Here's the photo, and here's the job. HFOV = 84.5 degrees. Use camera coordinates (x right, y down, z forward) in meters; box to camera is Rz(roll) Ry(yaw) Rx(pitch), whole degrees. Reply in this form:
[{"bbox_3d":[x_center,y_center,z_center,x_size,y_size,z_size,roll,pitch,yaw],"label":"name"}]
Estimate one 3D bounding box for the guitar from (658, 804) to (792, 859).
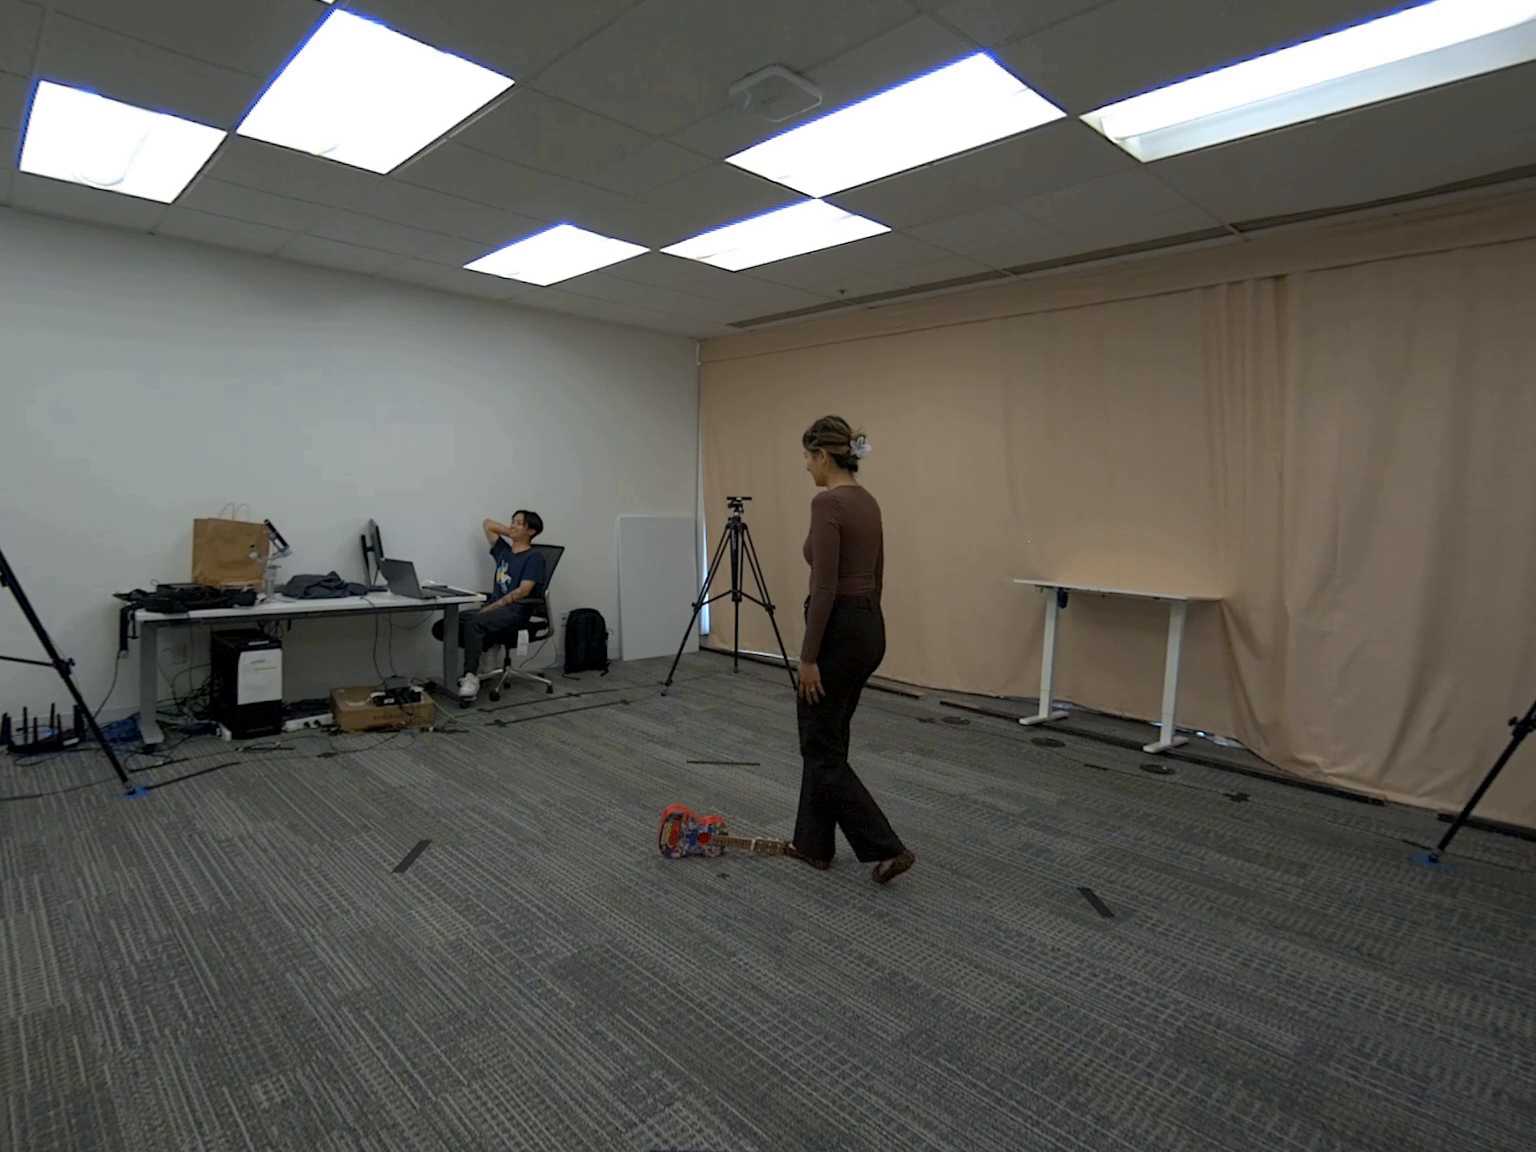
[{"bbox_3d":[-0.198,1.042,3.287,0.492,0.193,0.071,19,2,-10],"label":"guitar"}]
